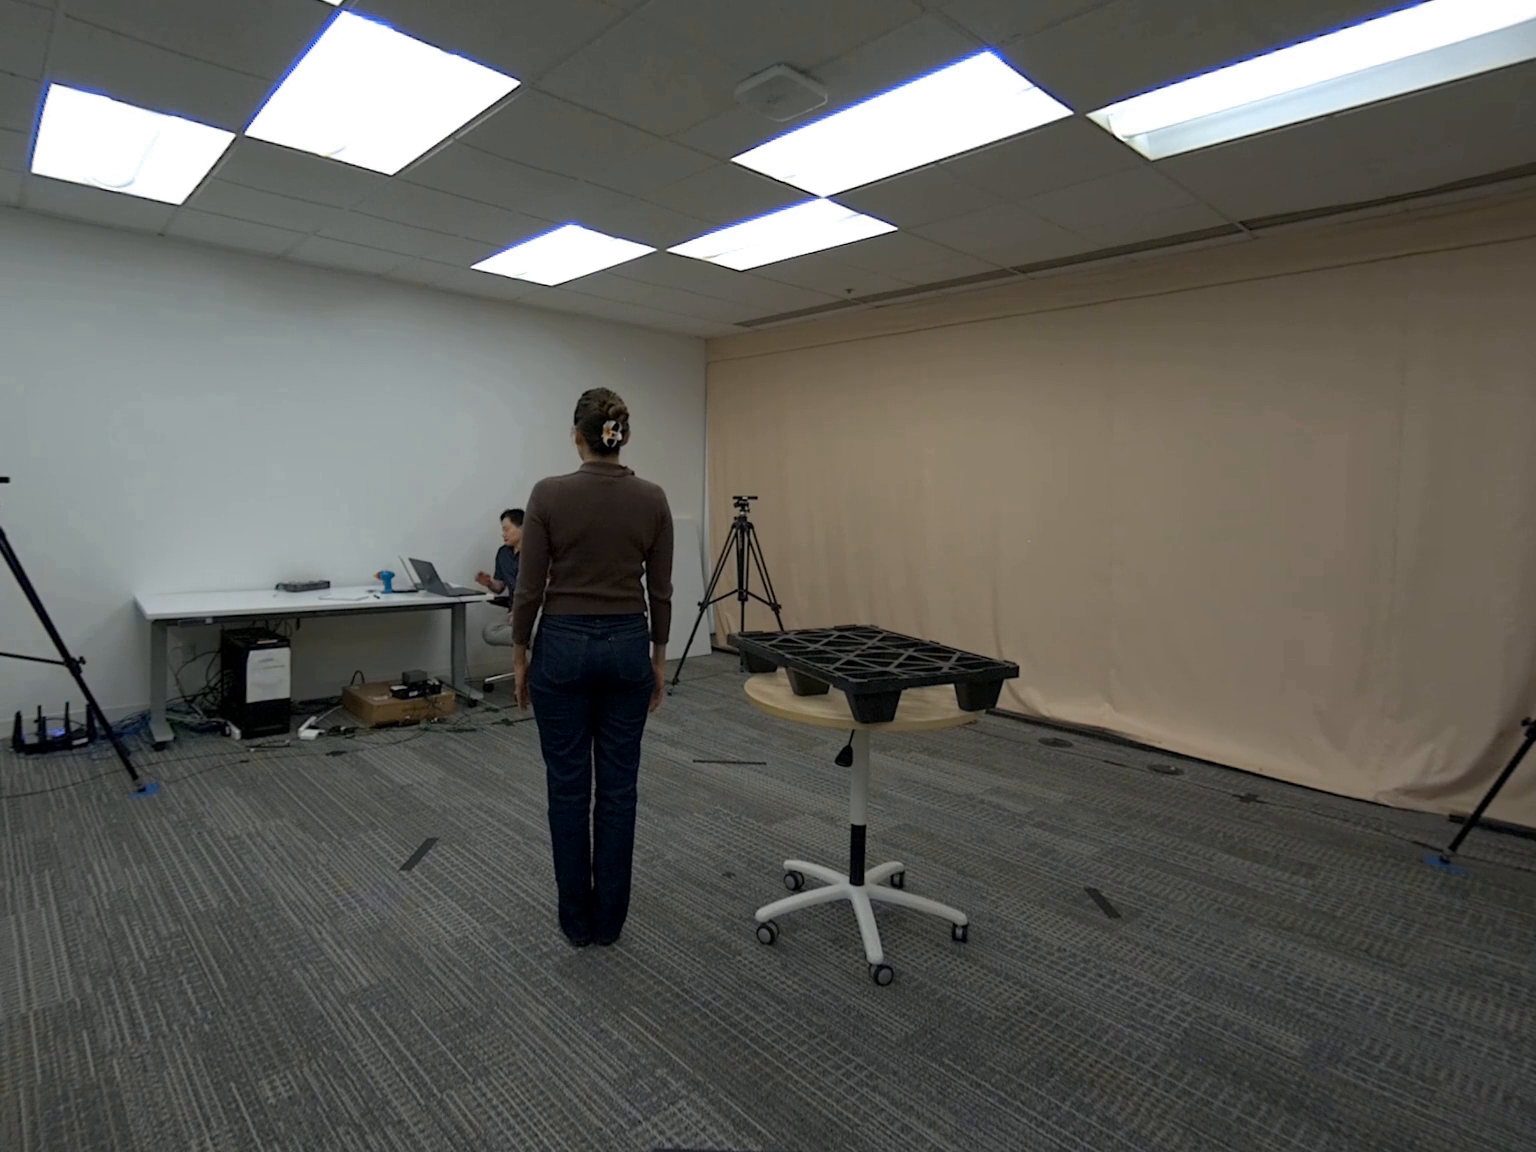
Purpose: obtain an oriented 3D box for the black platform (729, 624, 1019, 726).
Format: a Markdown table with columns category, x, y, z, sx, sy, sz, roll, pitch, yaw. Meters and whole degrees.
| category | x | y | z | sx | sy | sz | roll | pitch | yaw |
| --- | --- | --- | --- | --- | --- | --- | --- | --- | --- |
| black platform | 0.301 | 0.303 | 2.715 | 0.594 | 0.143 | 0.823 | -3 | 7 | -27 |
